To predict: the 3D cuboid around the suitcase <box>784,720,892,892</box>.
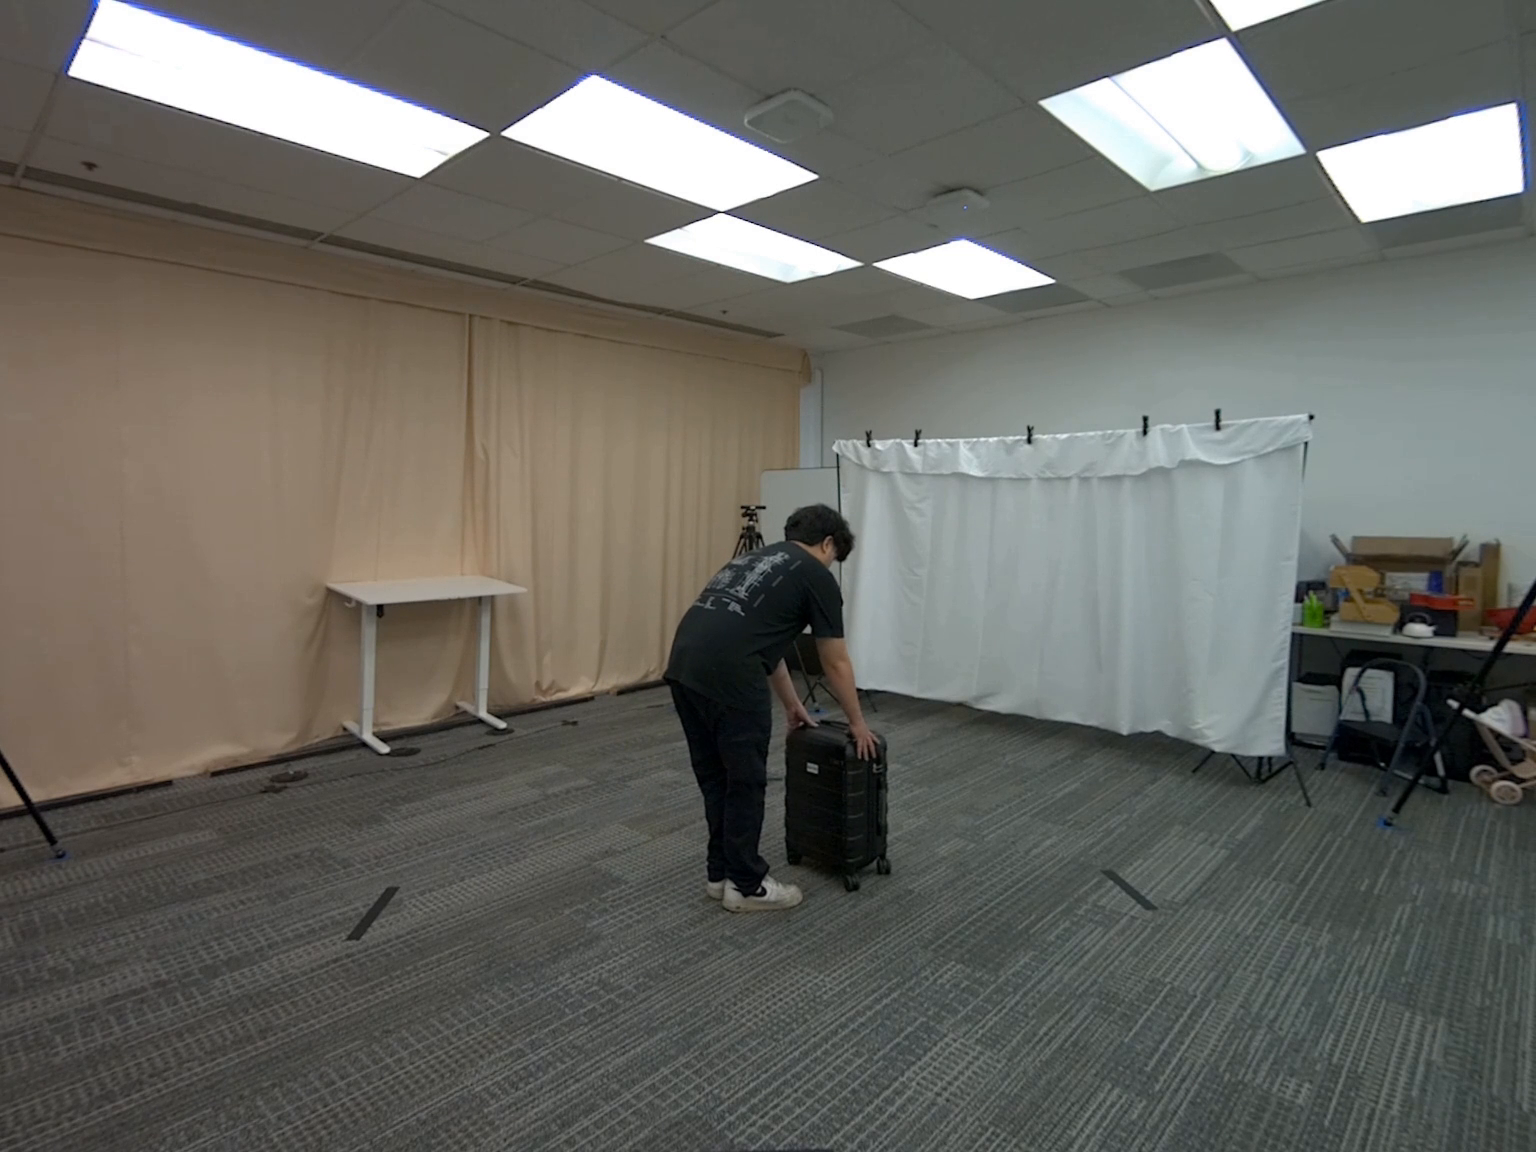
[{"bbox_3d":[0.267,0.846,3.228,0.241,0.548,0.388,-3,4,-44],"label":"suitcase"}]
